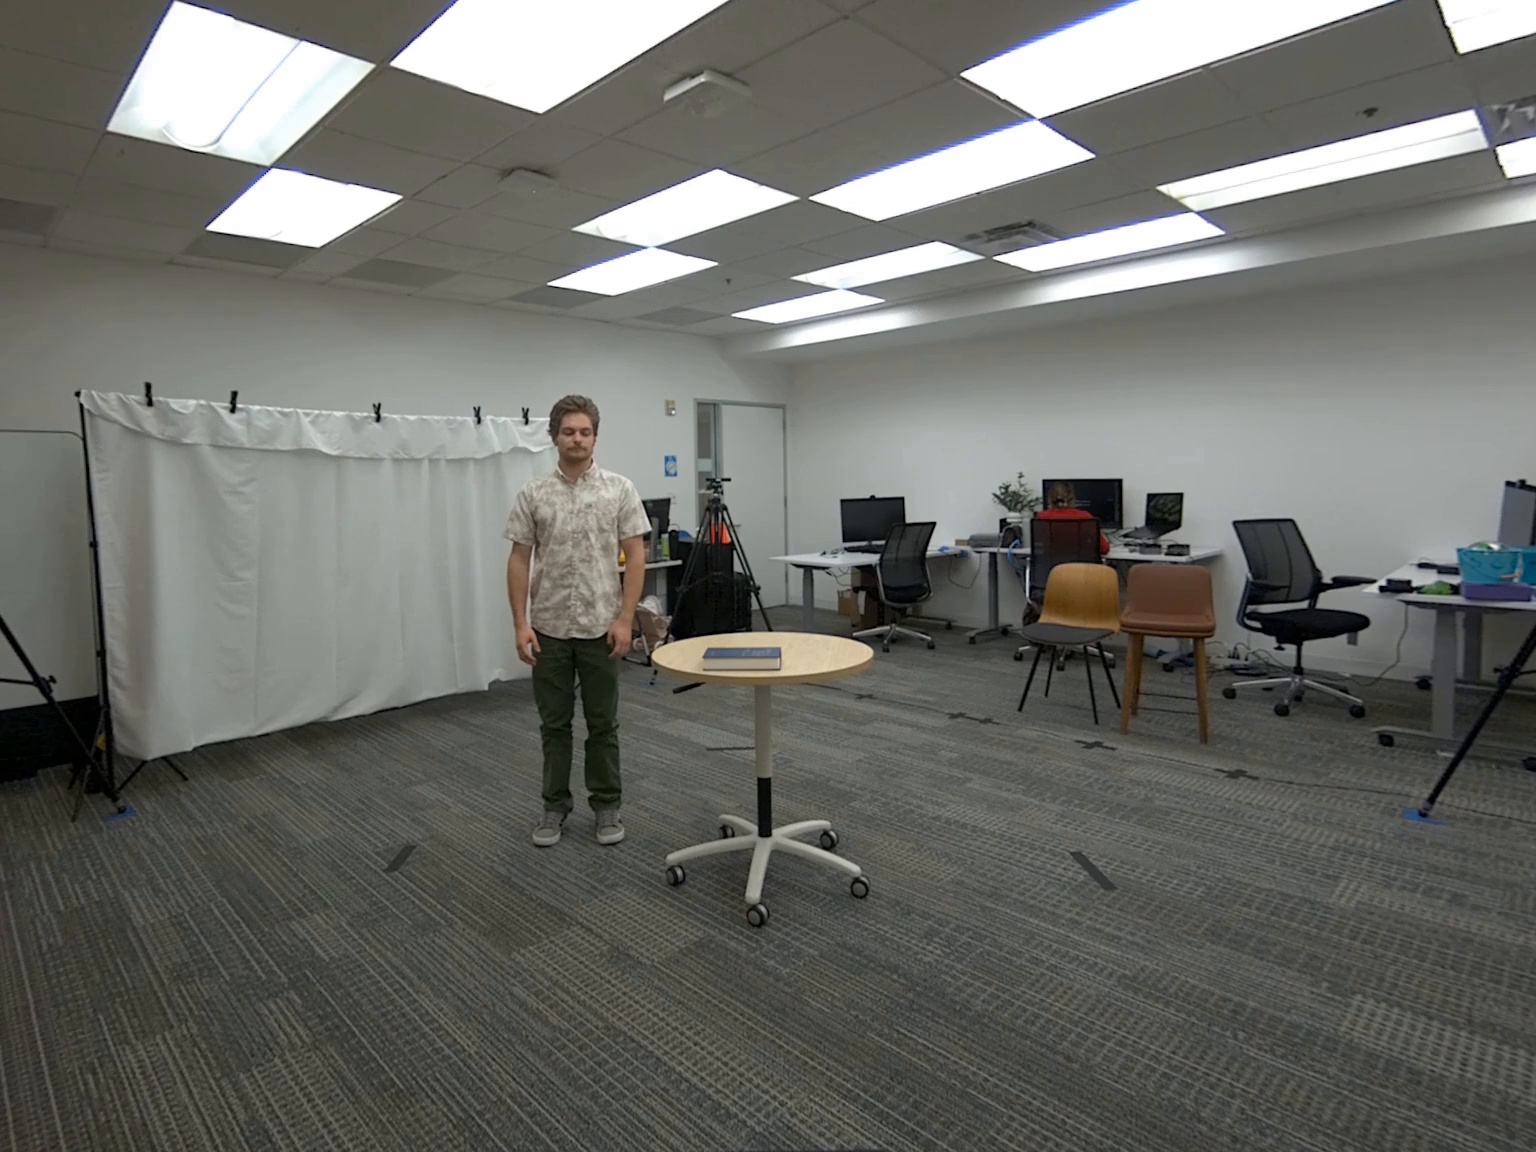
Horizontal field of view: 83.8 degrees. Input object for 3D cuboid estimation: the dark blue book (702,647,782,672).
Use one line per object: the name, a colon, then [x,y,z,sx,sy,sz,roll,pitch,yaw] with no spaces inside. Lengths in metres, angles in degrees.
dark blue book: [-0.083,0.264,2.752,0.246,0.045,0.163,-1,6,5]
